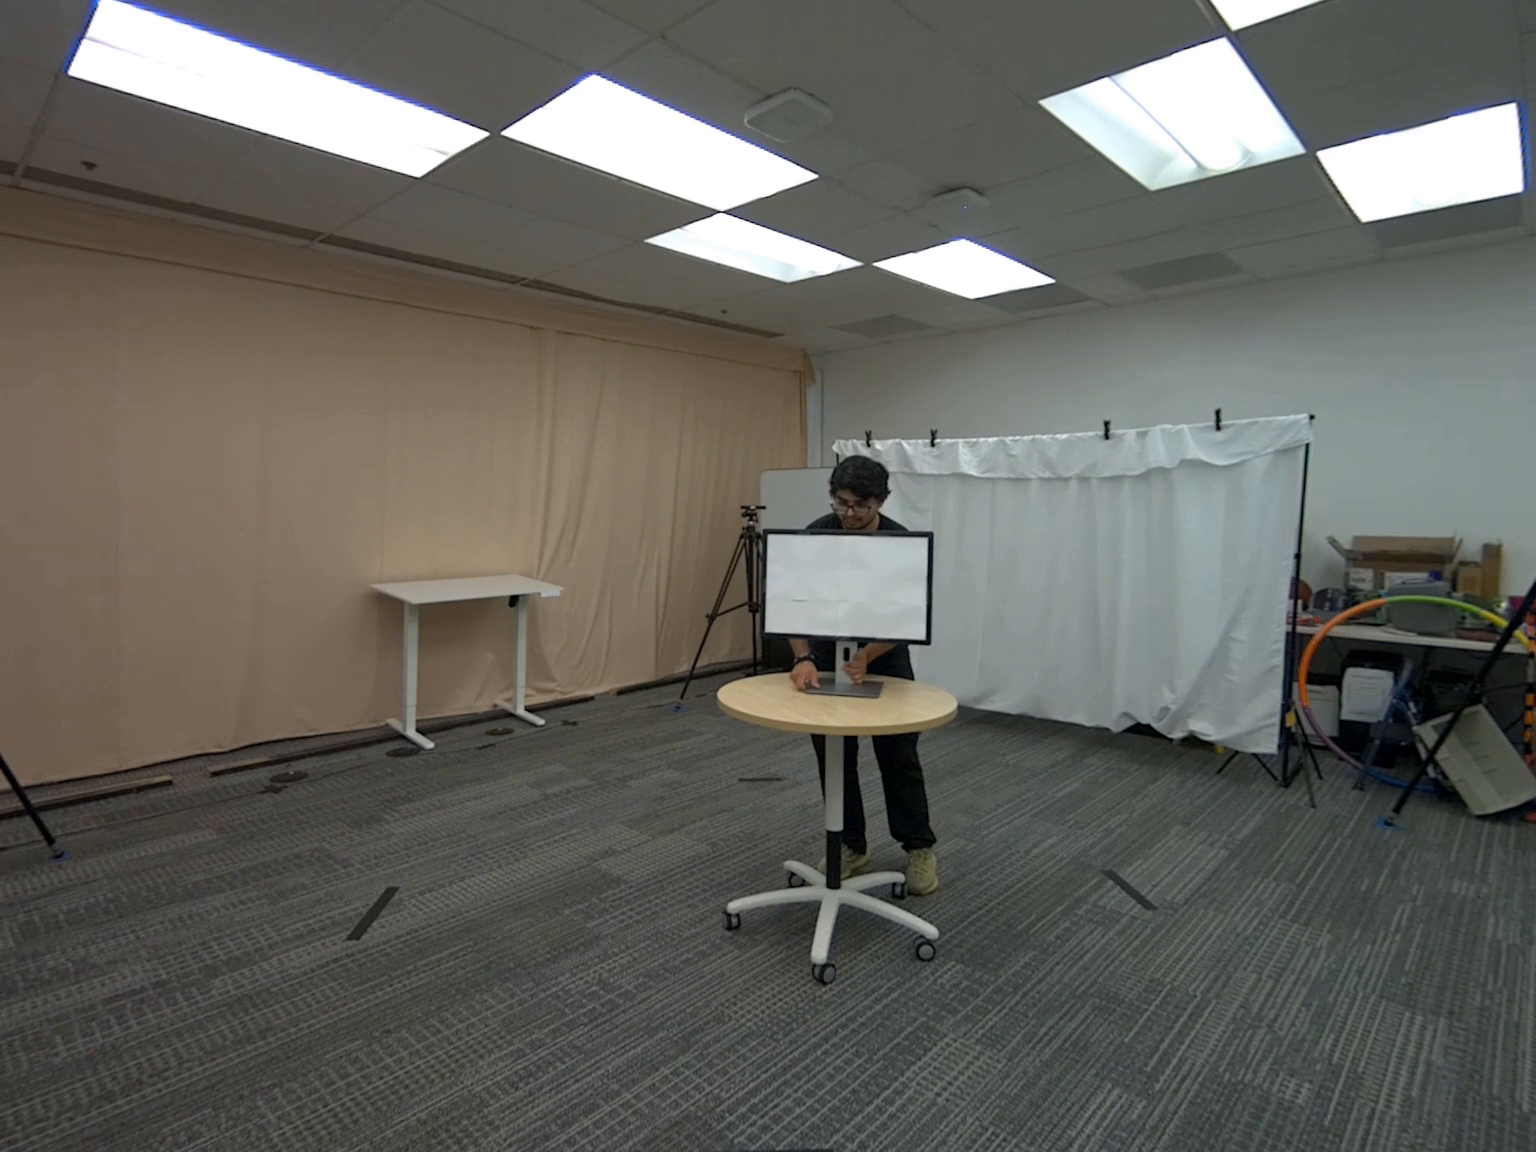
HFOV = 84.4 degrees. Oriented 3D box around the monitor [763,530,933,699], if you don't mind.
[{"bbox_3d":[0.264,0.117,2.827,0.574,0.553,0.207,1,1,14],"label":"monitor"}]
